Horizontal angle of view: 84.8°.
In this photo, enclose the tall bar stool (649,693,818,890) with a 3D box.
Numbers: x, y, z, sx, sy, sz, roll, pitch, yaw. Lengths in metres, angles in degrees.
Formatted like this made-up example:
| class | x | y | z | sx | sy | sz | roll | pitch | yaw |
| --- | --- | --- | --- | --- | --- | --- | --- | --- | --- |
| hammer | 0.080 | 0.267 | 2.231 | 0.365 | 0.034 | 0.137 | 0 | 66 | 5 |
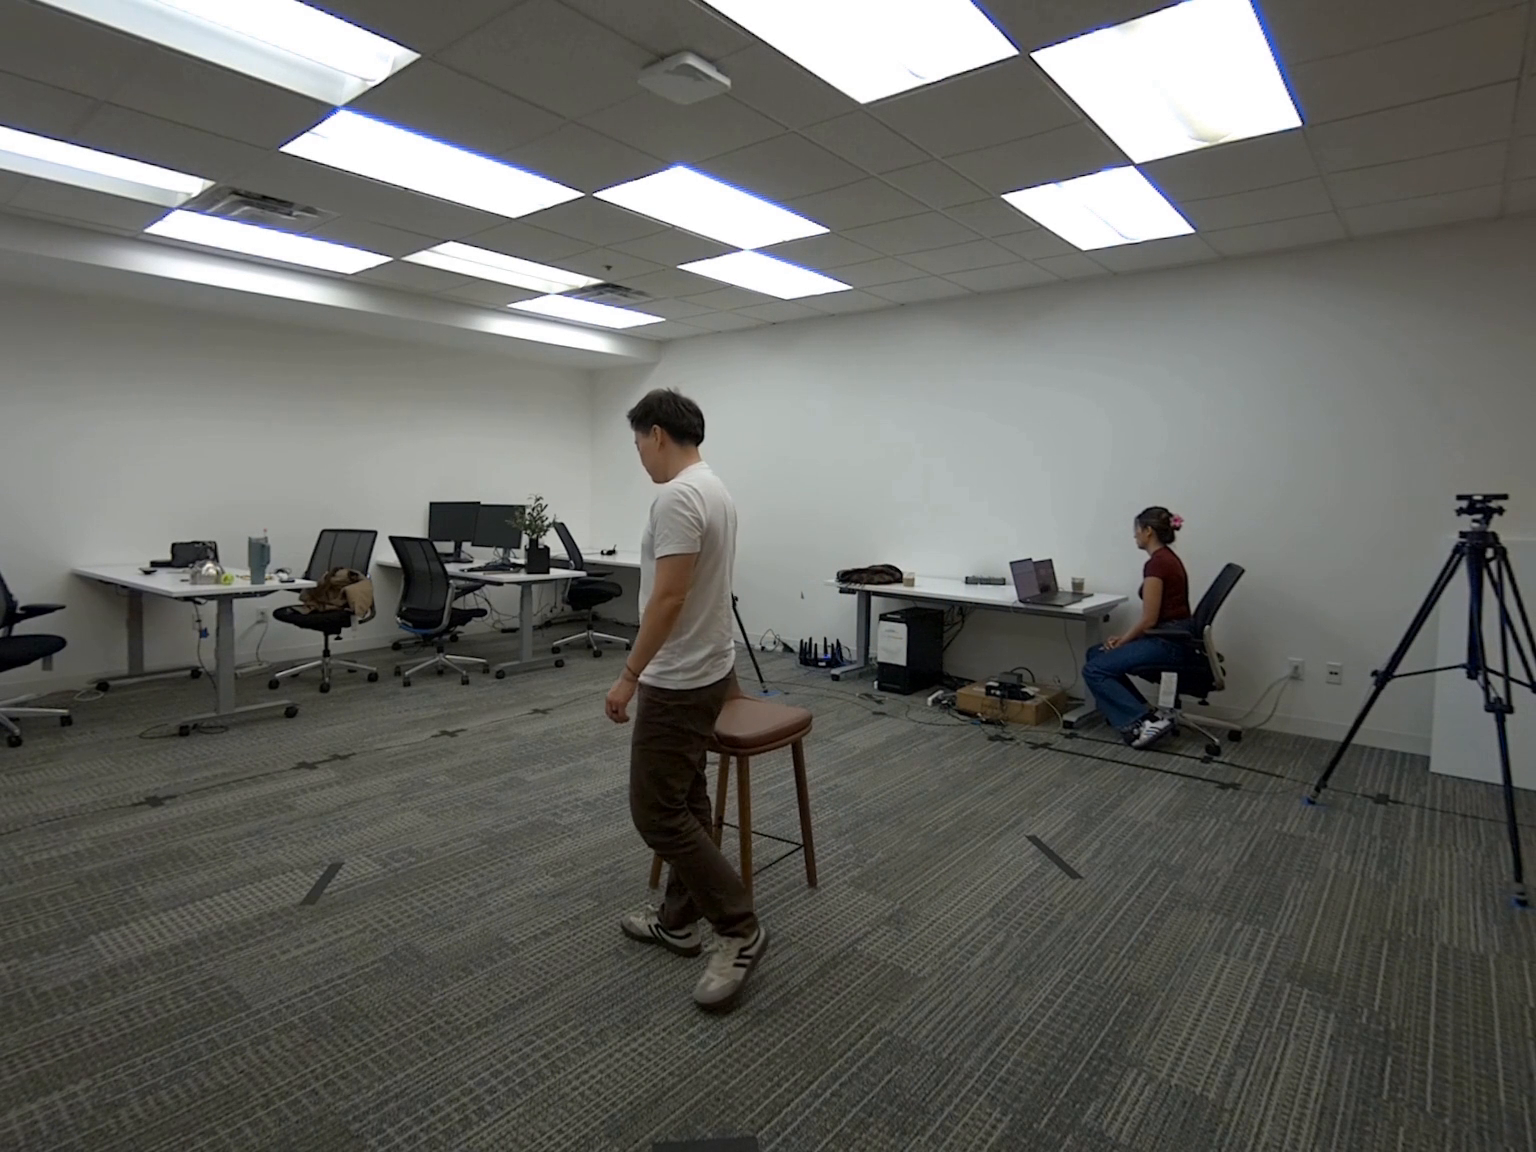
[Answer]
| class | x | y | z | sx | sy | sz | roll | pitch | yaw |
| --- | --- | --- | --- | --- | --- | --- | --- | --- | --- |
| tall bar stool | -0.128 | 0.647 | 2.946 | 0.482 | 0.889 | 0.443 | 1 | 2 | 37 |
